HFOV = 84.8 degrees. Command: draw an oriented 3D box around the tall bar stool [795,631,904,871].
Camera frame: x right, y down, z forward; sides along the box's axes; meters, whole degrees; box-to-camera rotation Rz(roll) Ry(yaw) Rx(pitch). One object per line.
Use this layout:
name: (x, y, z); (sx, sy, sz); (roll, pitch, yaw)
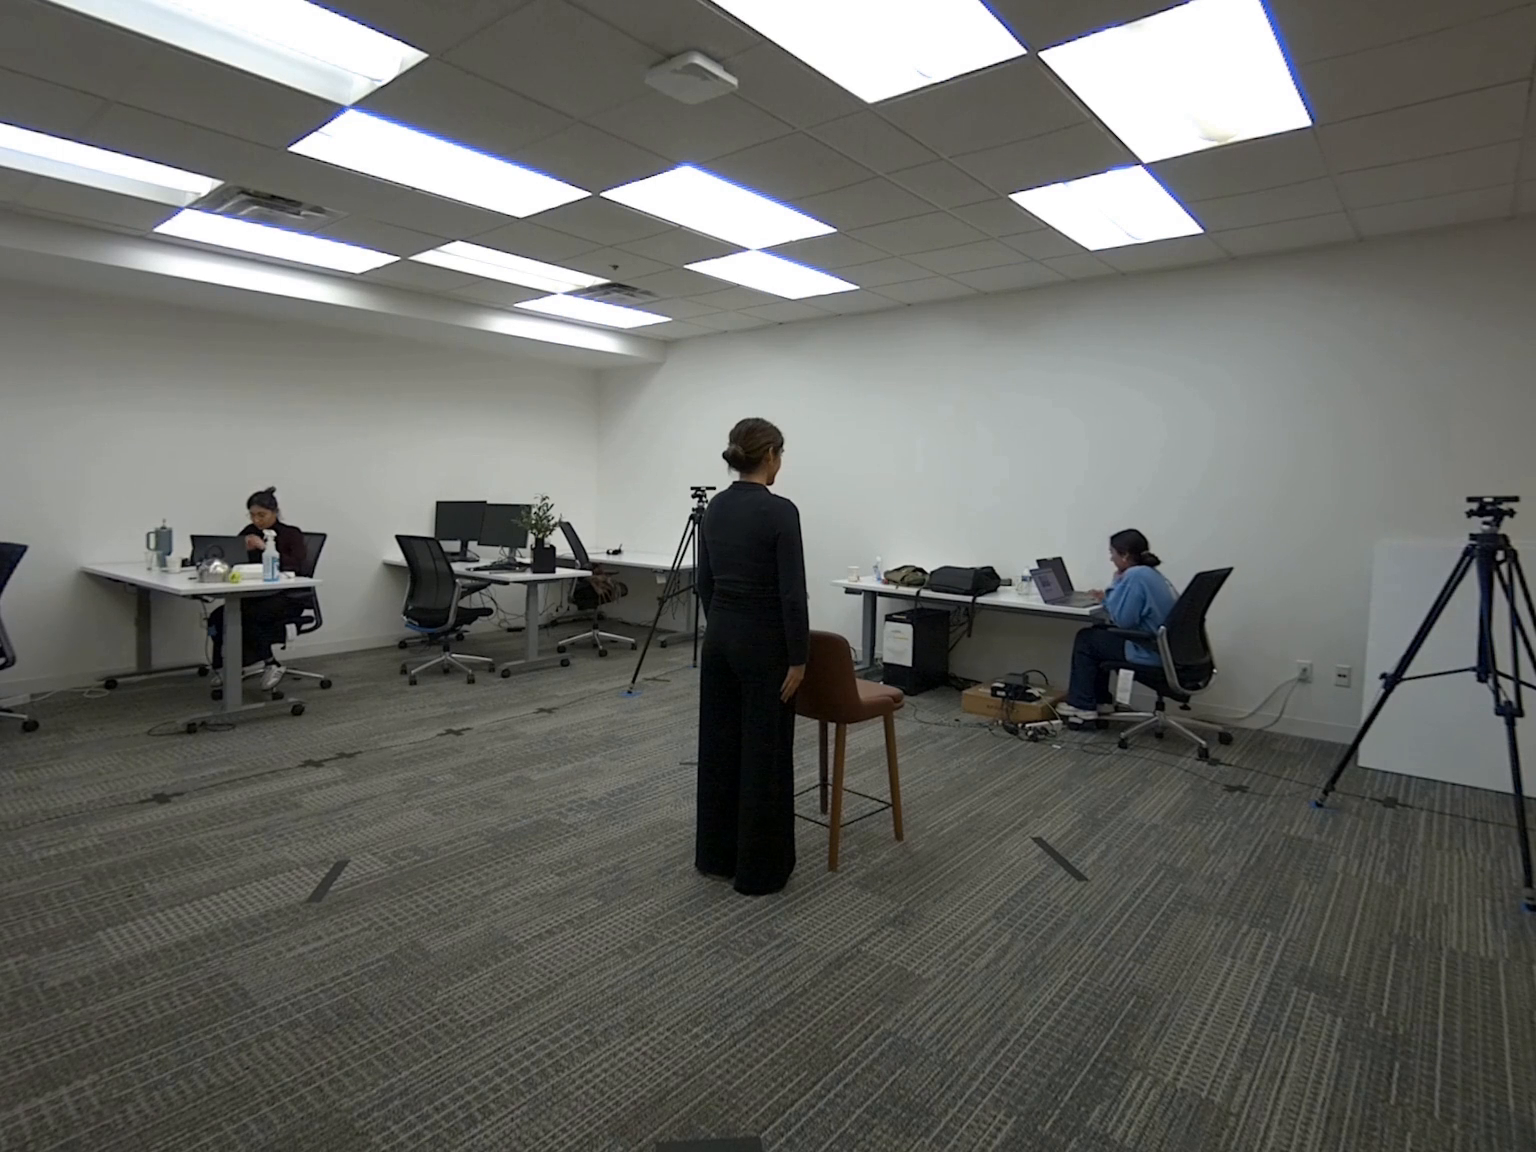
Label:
tall bar stool: (0.239, 0.608, 3.355); (0.472, 0.886, 0.454); (4, 7, 43)
